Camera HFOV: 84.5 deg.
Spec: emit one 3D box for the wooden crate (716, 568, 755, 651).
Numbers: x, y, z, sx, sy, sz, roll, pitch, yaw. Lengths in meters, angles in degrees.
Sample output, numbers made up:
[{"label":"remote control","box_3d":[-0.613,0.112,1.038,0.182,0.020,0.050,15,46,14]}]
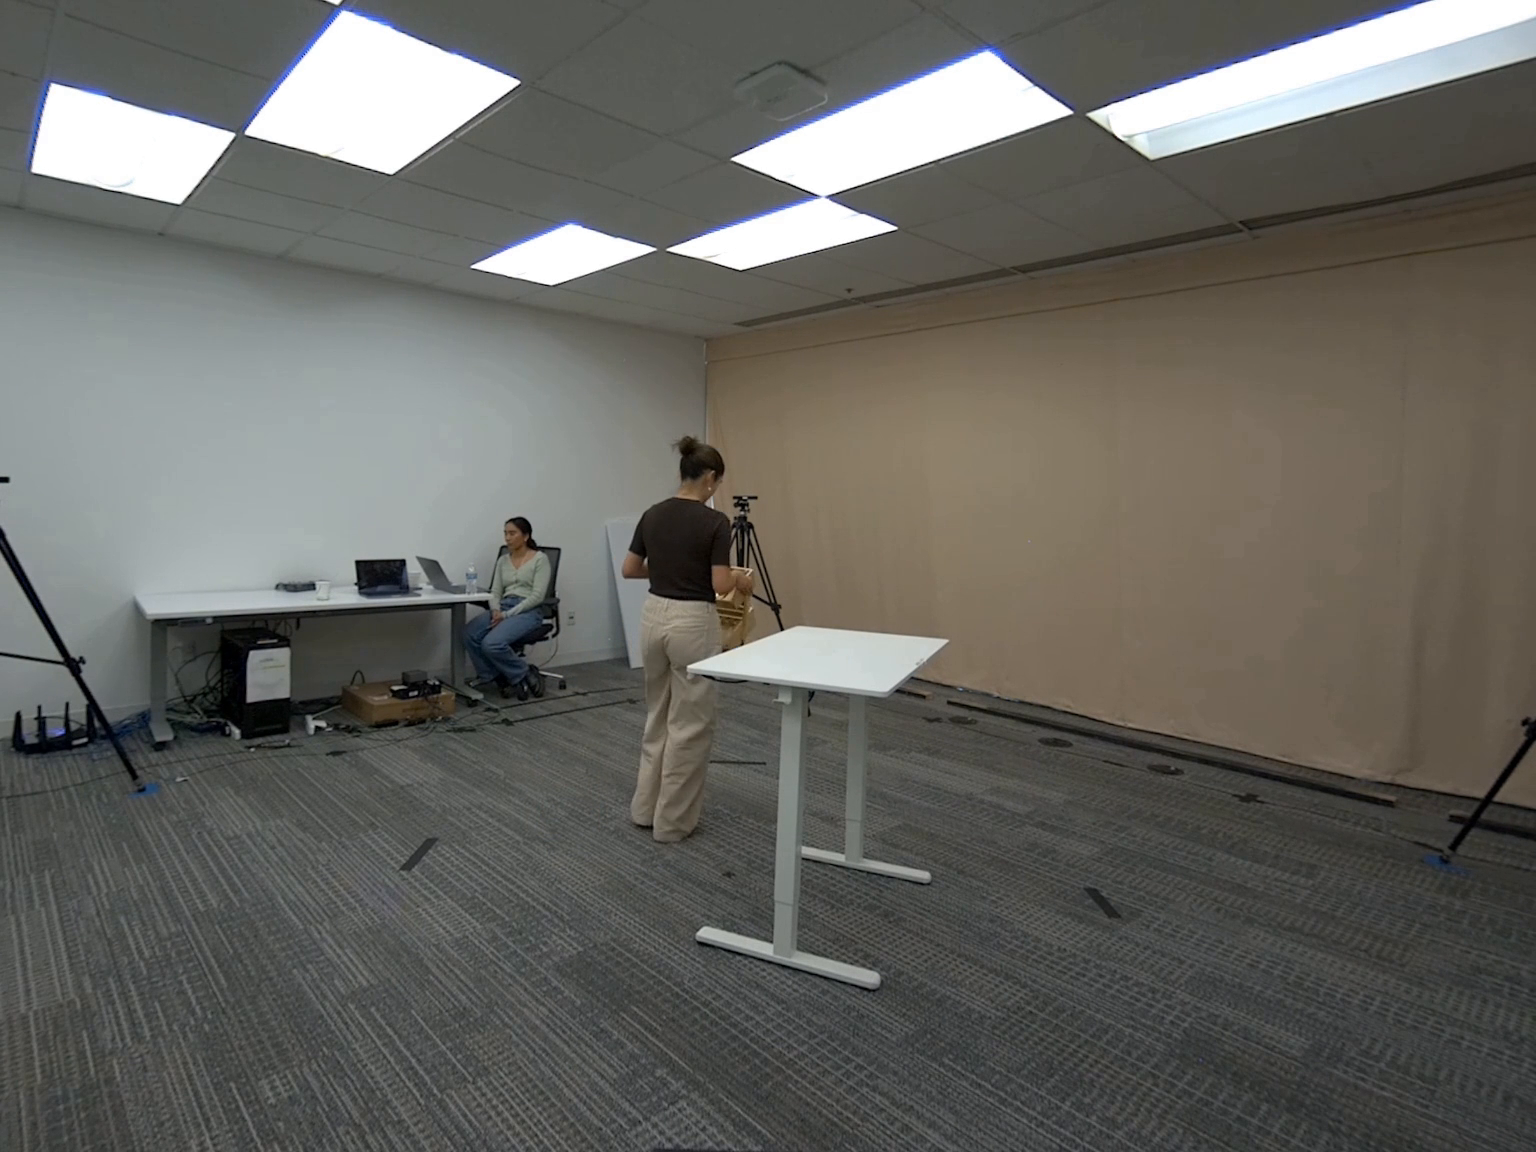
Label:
[{"label":"wooden crate","box_3d":[-0.248,0.139,3.696,0.331,0.267,0.302,8,33,26]}]
